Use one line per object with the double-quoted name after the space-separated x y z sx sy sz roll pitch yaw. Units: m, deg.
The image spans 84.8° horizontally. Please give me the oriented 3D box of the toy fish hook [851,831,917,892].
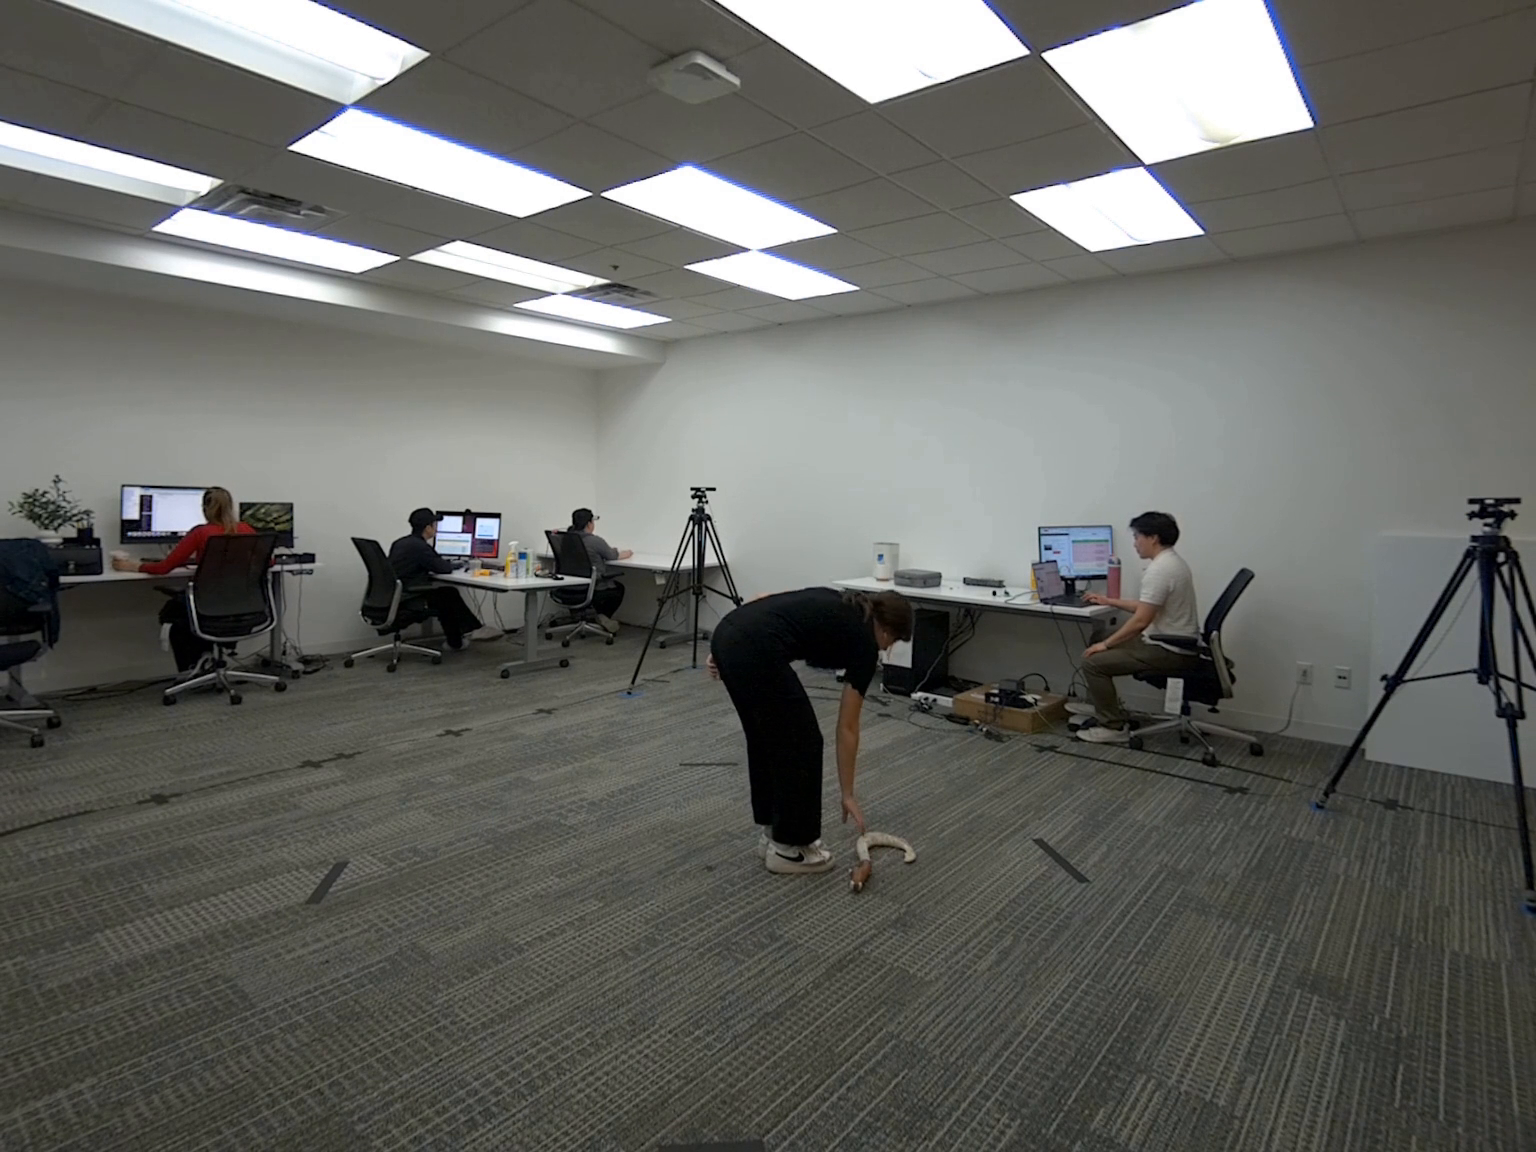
0.410 1.051 3.144 0.229 0.048 0.499 1 6 17 "toy fish hook"
